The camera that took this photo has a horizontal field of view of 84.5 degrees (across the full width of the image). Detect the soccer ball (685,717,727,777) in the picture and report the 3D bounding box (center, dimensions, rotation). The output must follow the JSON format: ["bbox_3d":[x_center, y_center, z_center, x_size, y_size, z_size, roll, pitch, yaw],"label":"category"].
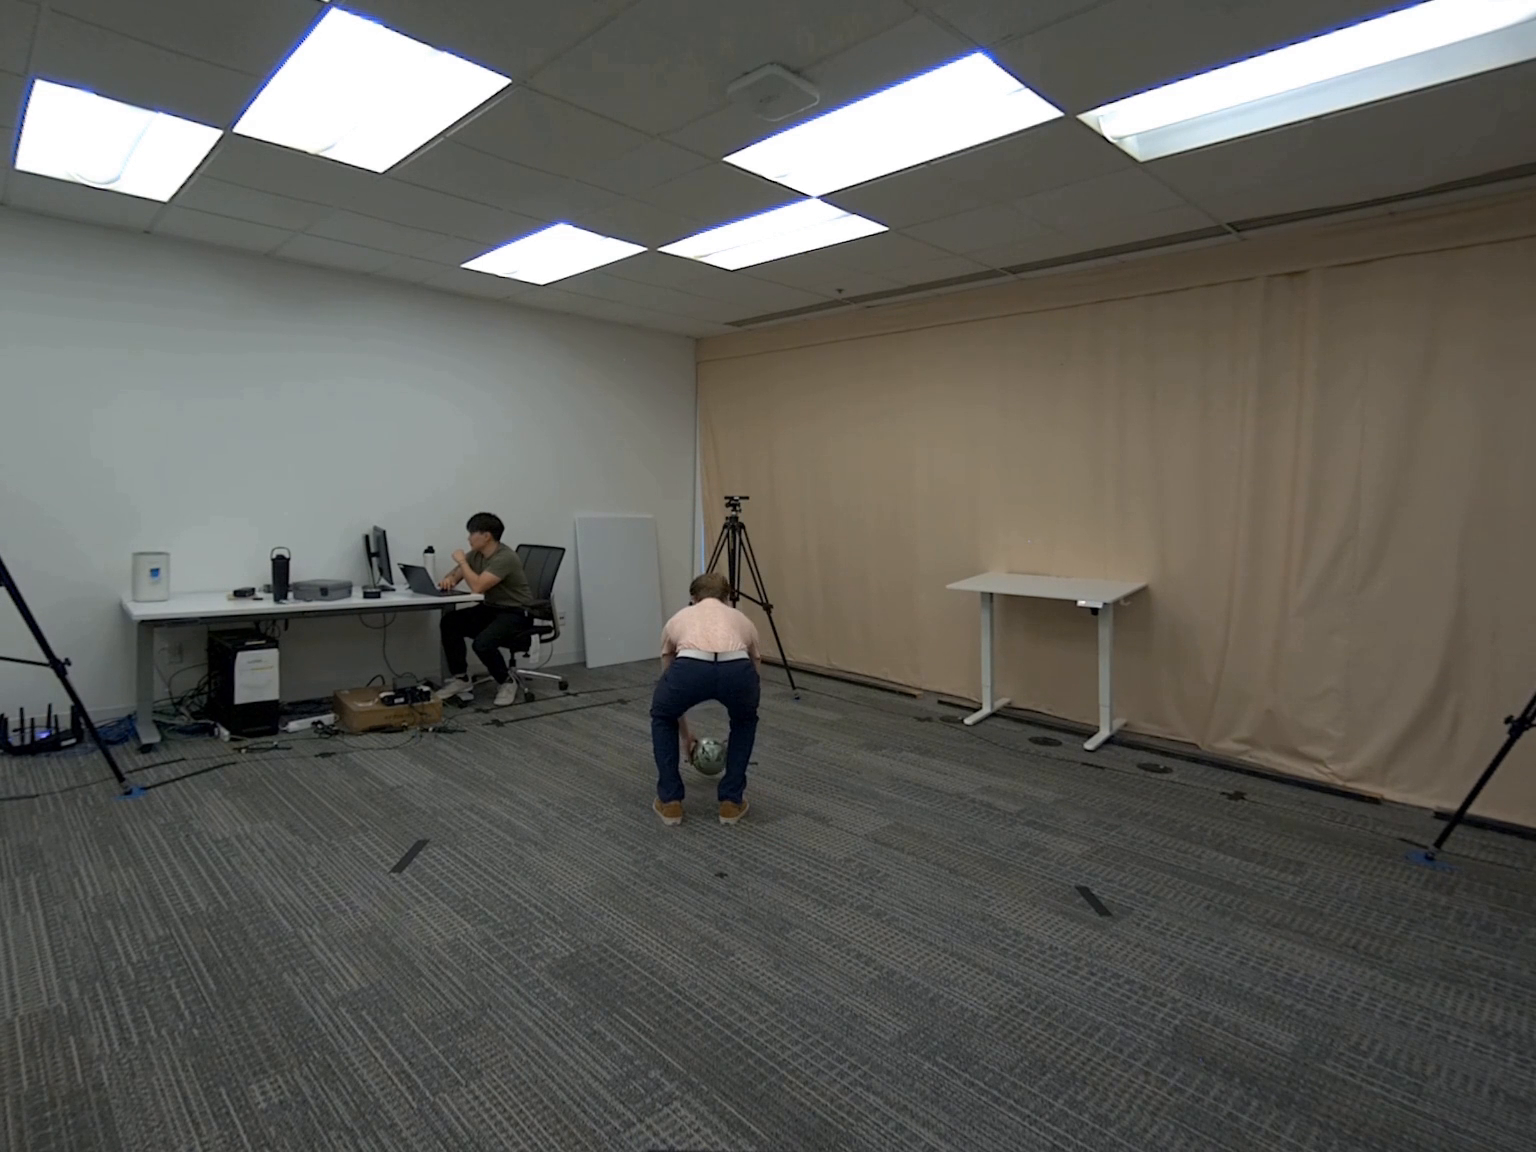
[{"bbox_3d":[-0.288,0.849,4.124,0.187,0.187,0.188,1,4,-1],"label":"soccer ball"}]
